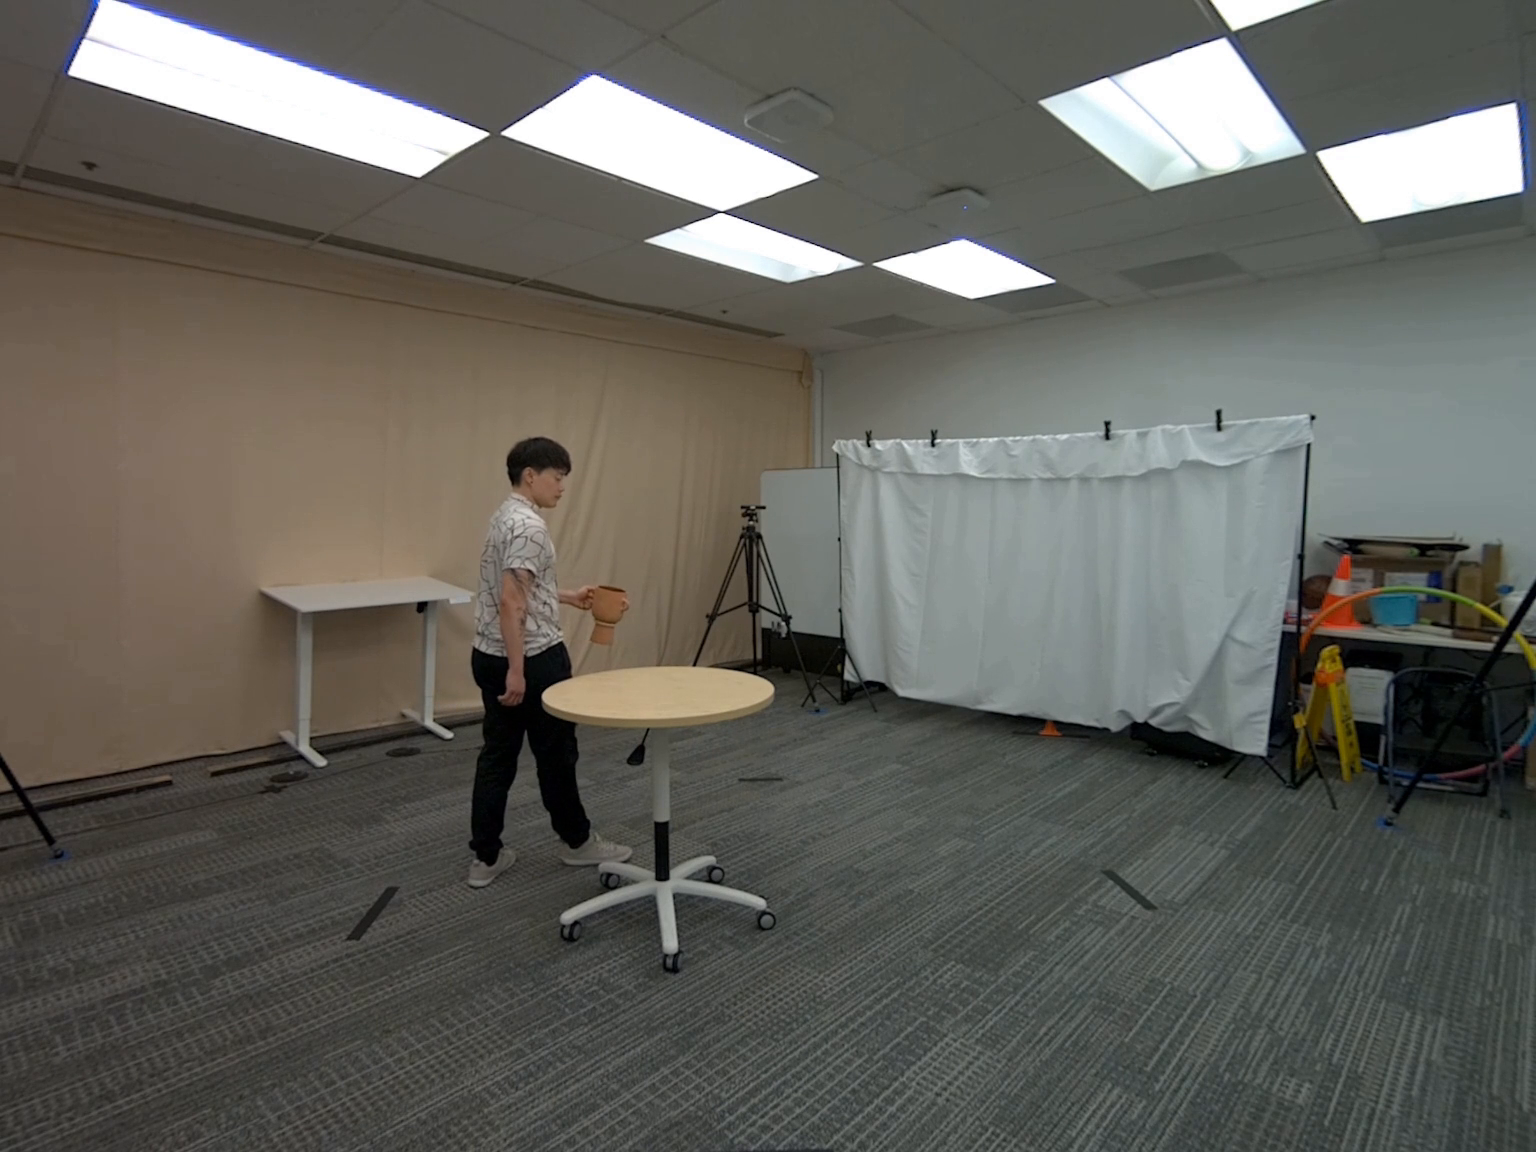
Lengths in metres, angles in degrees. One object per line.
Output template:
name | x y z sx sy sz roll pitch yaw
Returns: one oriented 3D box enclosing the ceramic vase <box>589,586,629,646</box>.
ceramic vase | -0.657 0.161 3.408 0.131 0.219 0.163 10 4 -27
